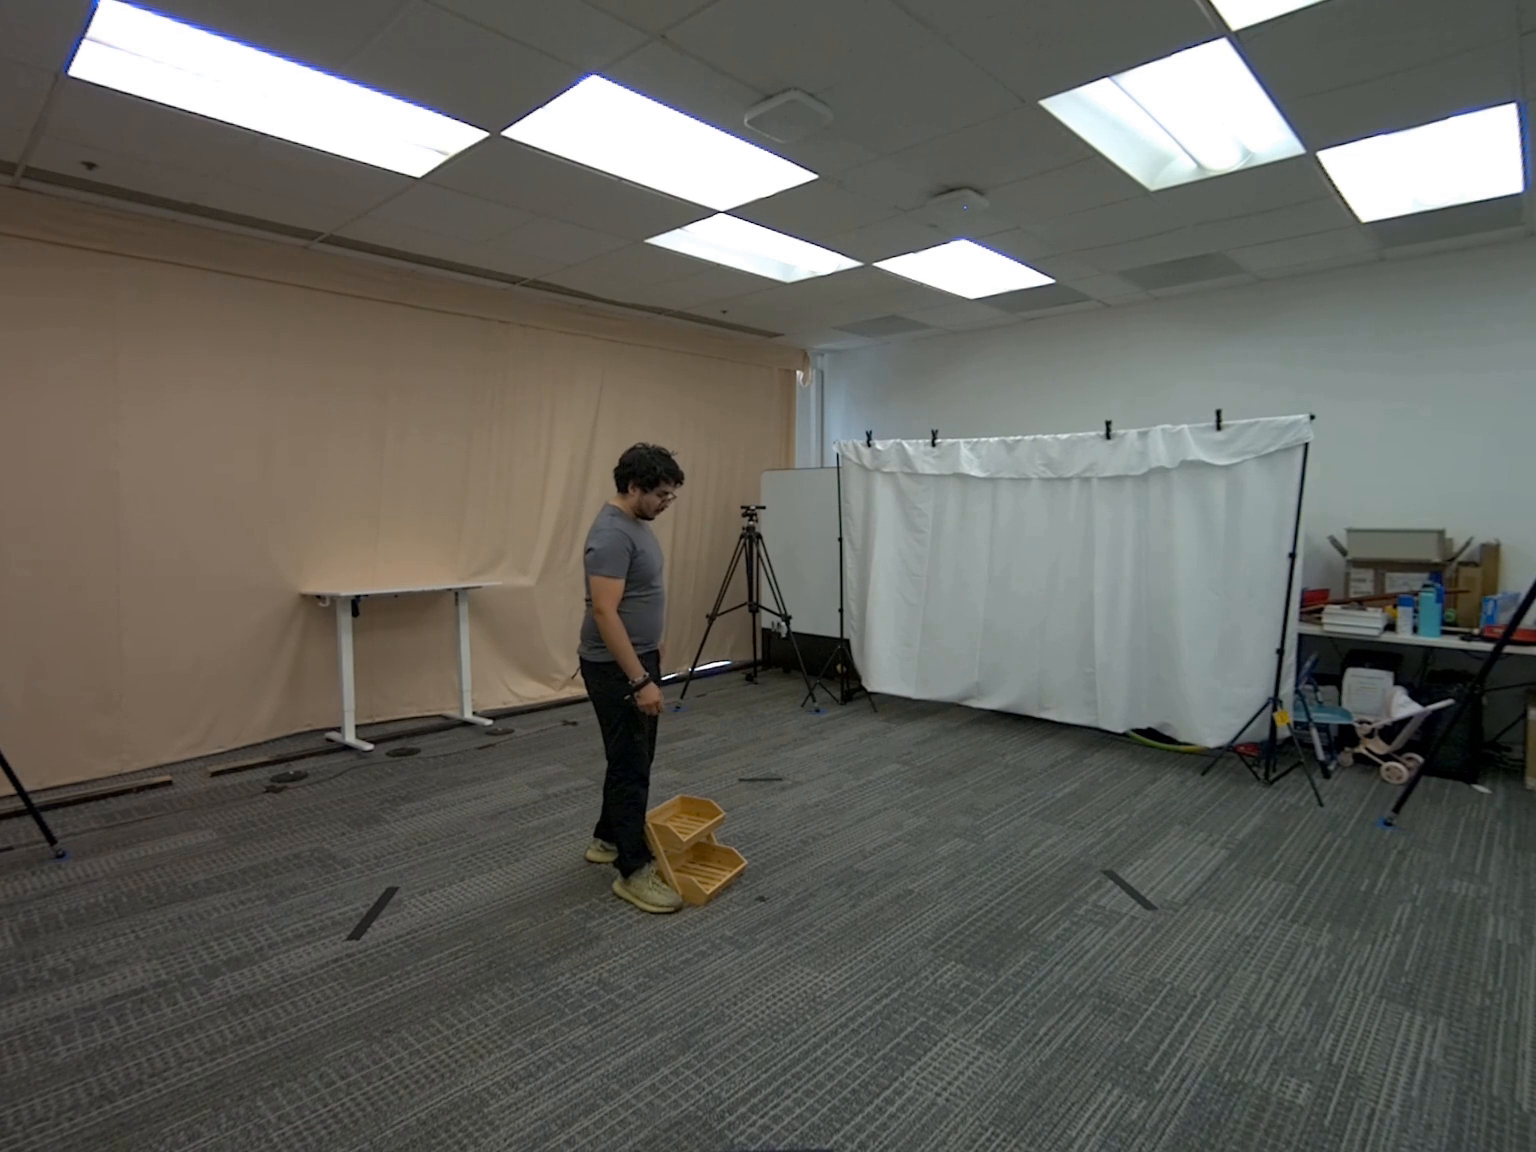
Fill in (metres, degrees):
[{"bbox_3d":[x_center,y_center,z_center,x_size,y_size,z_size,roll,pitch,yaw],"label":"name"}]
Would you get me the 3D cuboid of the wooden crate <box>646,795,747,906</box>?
[{"bbox_3d":[-0.268,1.001,3.121,0.310,0.273,0.317,-1,4,26],"label":"wooden crate"}]
